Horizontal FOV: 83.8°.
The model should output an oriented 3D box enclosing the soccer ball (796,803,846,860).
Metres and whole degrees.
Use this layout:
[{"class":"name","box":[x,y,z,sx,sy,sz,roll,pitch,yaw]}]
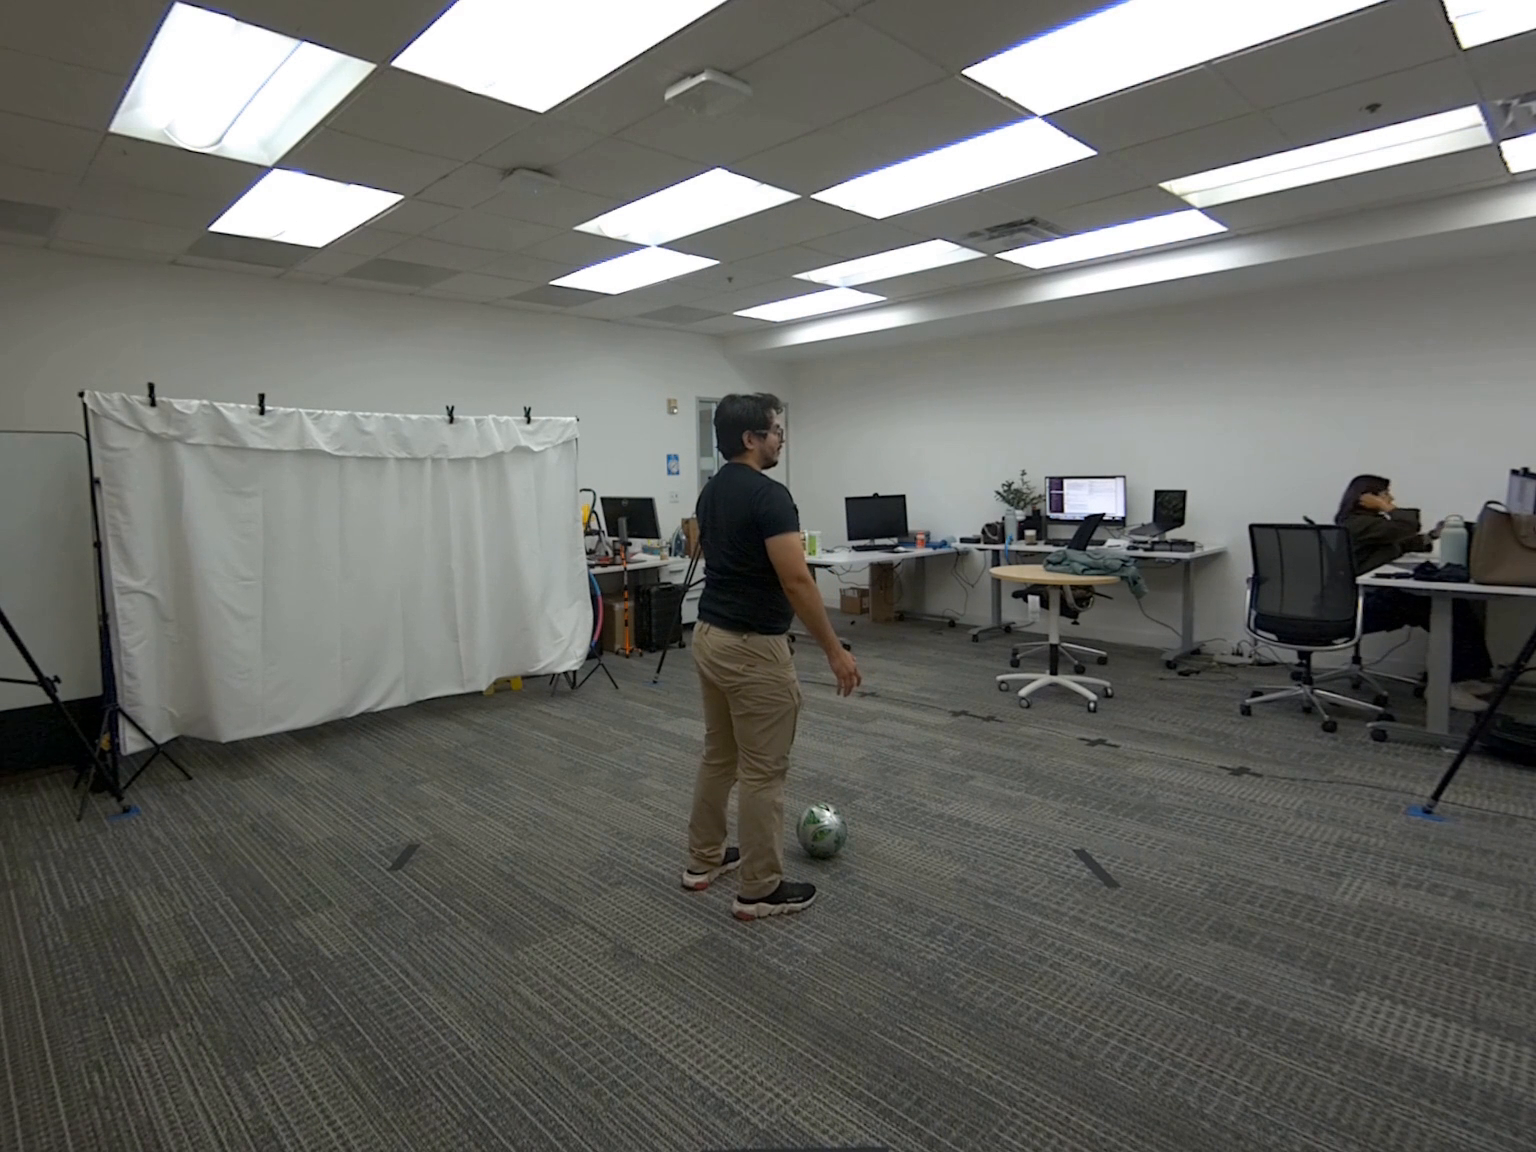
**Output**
[{"class":"soccer ball","box":[0.196,0.934,3.141,0.187,0.187,0.188,-1,5,-2]}]
